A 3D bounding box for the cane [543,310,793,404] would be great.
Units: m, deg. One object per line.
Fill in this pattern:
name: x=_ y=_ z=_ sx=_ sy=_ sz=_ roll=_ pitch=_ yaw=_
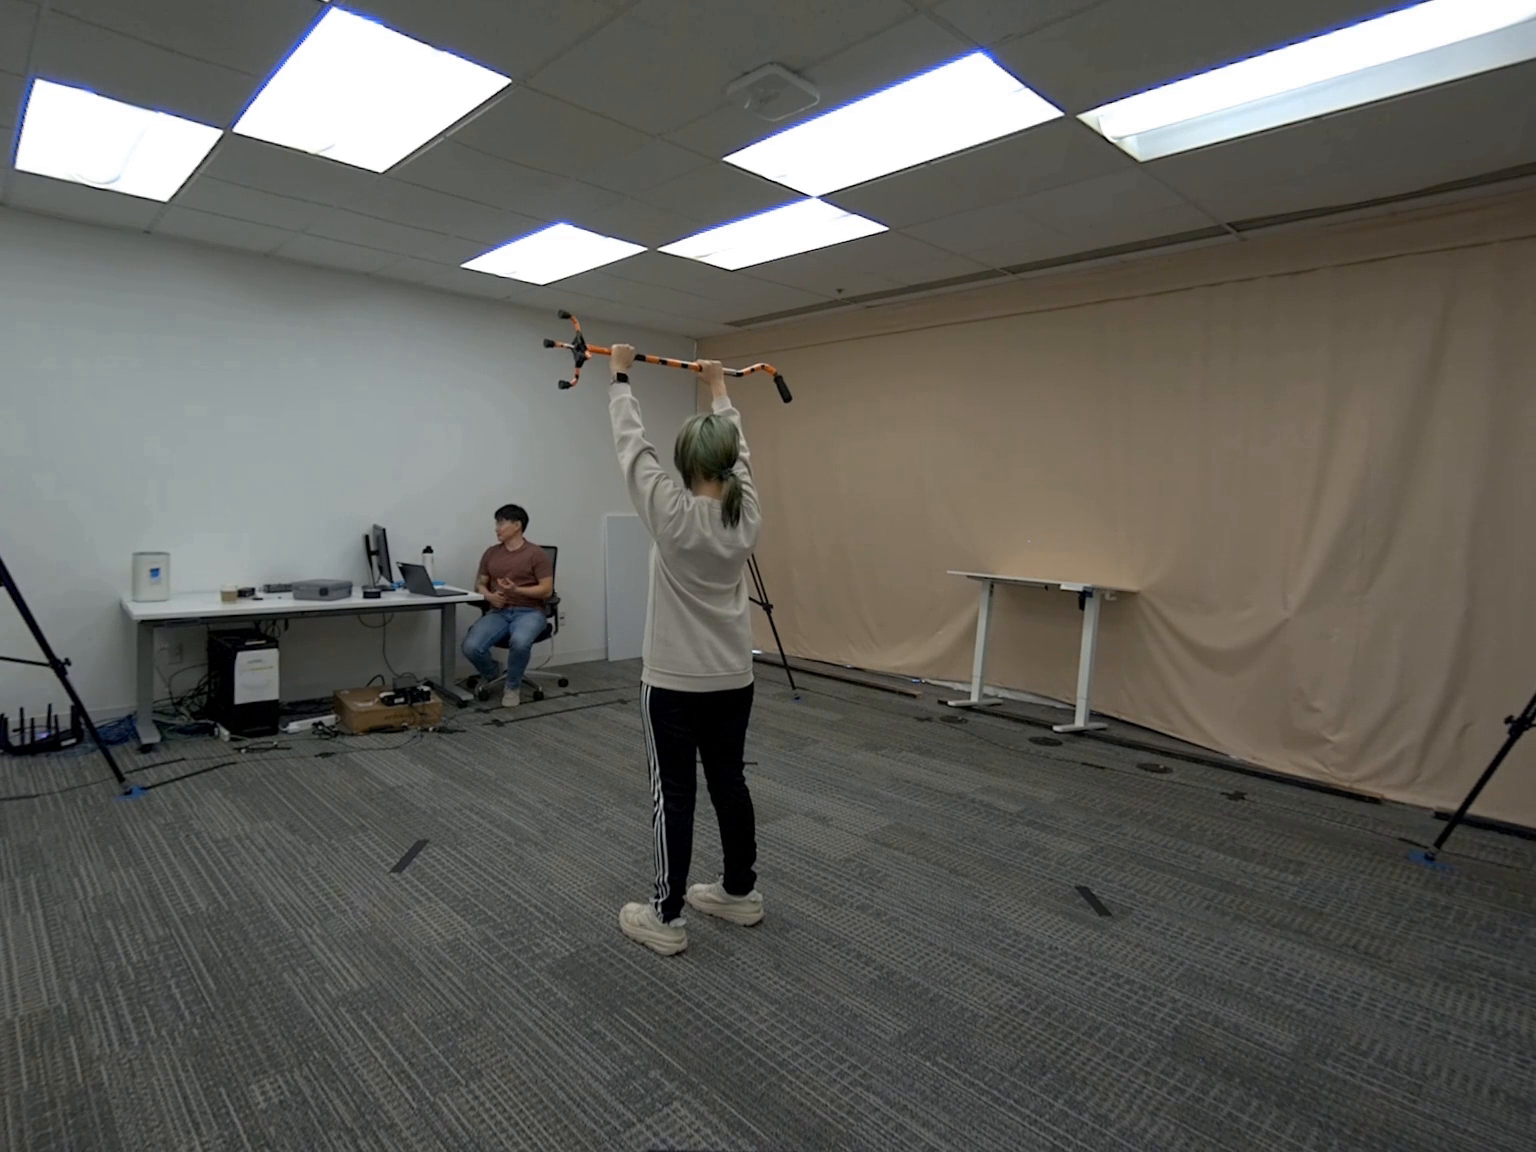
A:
cane: x=-0.298 y=-0.706 z=2.860 sx=0.887 sy=0.211 sz=0.152 roll=-2 pitch=-31 yaw=-39
